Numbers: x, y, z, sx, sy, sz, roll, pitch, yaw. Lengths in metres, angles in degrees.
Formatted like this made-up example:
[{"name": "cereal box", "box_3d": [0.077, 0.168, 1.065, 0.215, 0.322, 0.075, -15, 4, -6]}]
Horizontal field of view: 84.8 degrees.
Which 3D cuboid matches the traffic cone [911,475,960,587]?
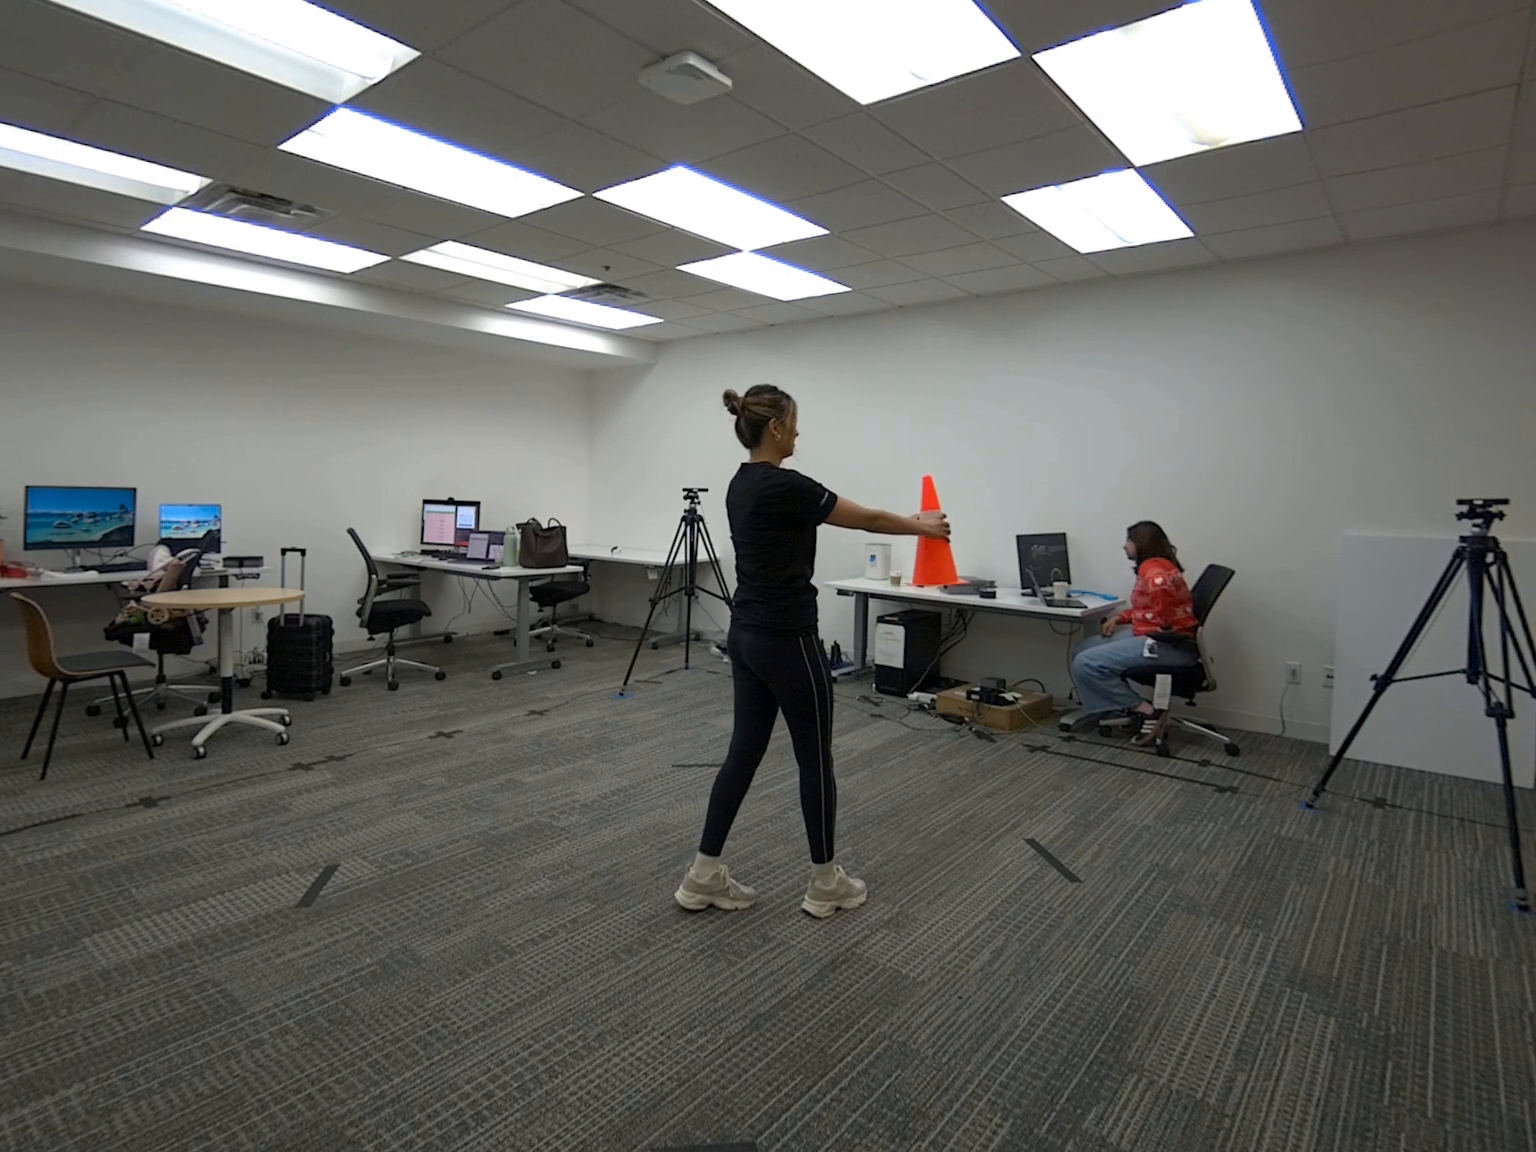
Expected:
[{"name": "traffic cone", "box_3d": [0.562, -0.166, 2.998, 0.211, 0.383, 0.198, -4, 2, 34]}]
